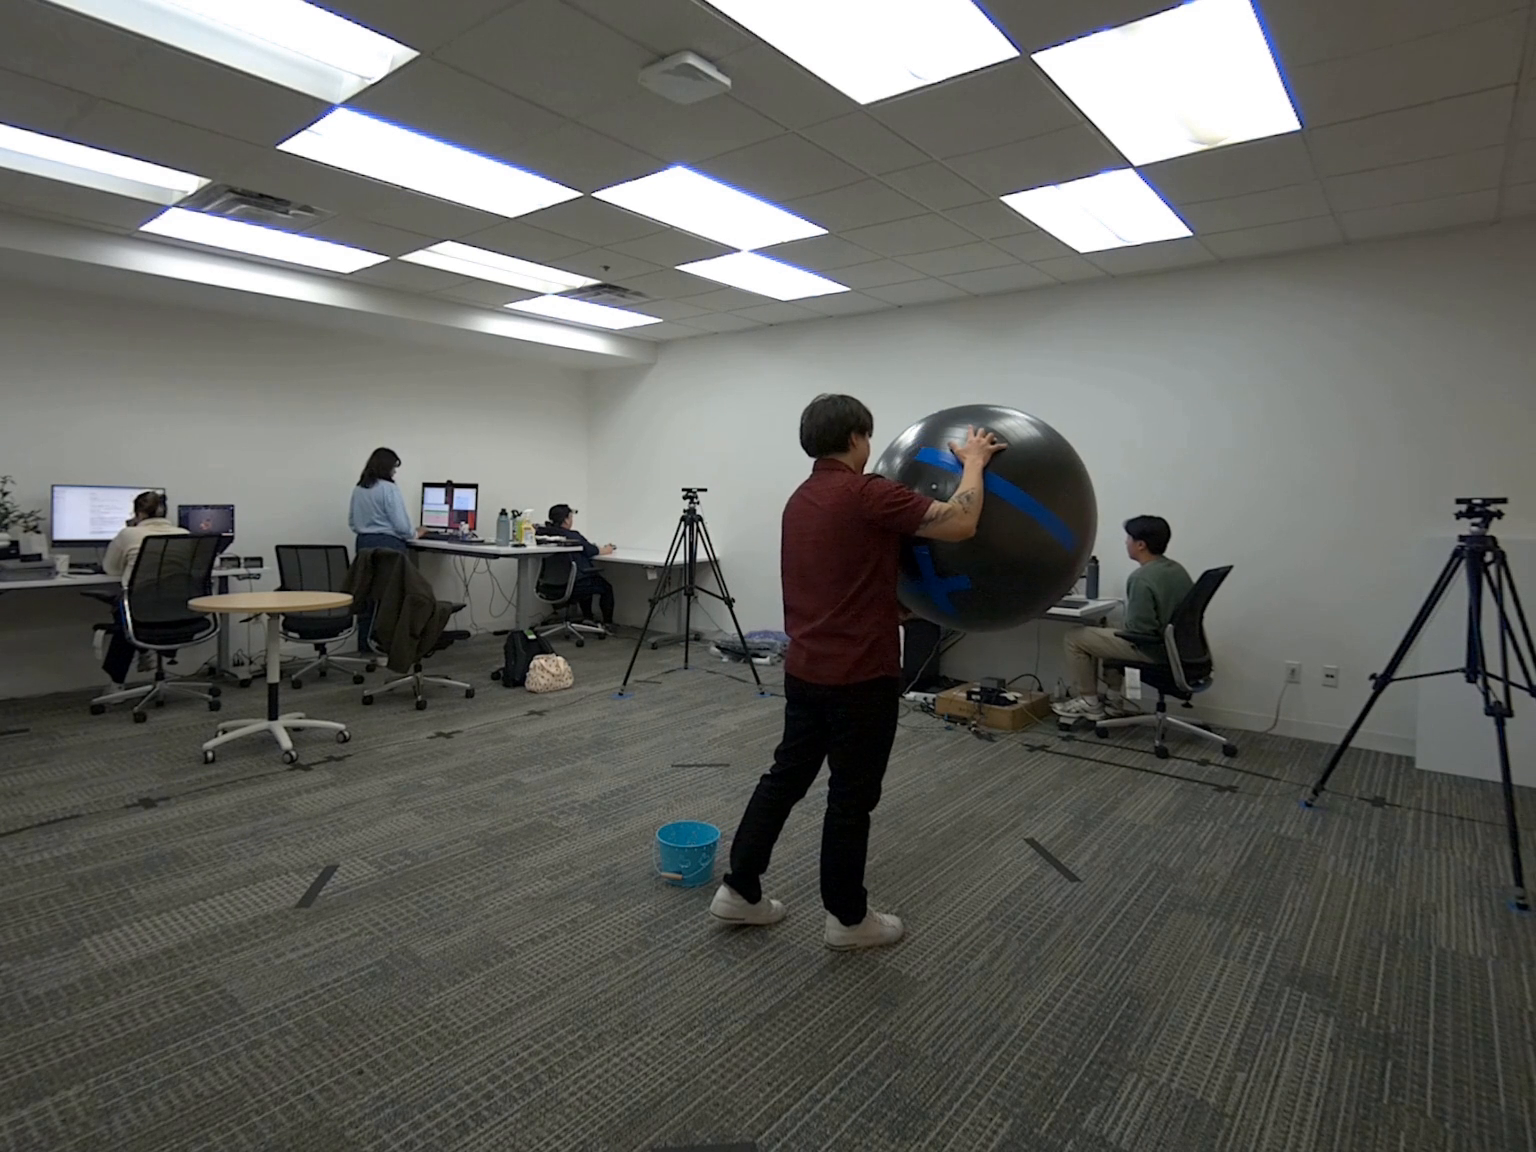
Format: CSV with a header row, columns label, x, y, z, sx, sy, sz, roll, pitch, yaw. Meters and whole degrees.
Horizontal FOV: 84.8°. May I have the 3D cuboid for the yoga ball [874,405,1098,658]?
label,x,y,z,sx,sy,sz,roll,pitch,yaw
yoga ball,0.699,-0.192,2.864,0.757,0.756,0.761,1,4,-2
